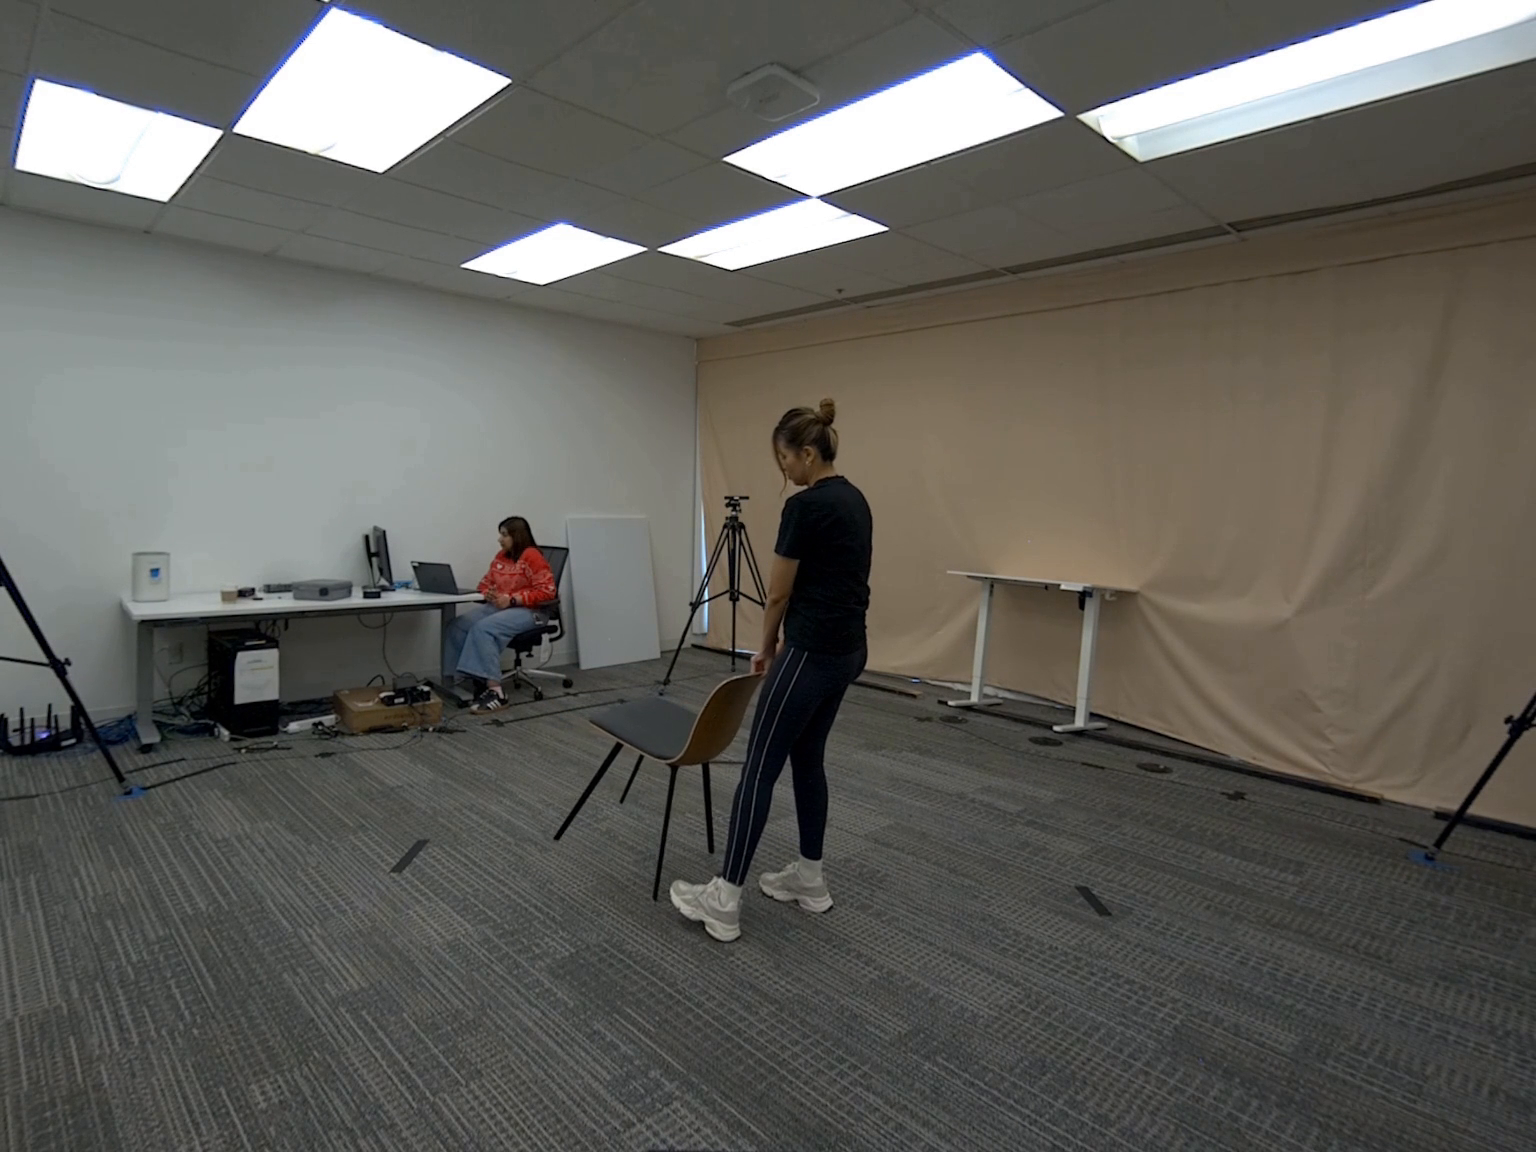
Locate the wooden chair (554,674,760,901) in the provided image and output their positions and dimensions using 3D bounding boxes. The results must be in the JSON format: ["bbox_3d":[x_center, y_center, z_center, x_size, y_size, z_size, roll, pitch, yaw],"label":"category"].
[{"bbox_3d":[-0.388,0.626,3.103,0.535,0.873,0.470,26,13,22],"label":"wooden chair"}]
